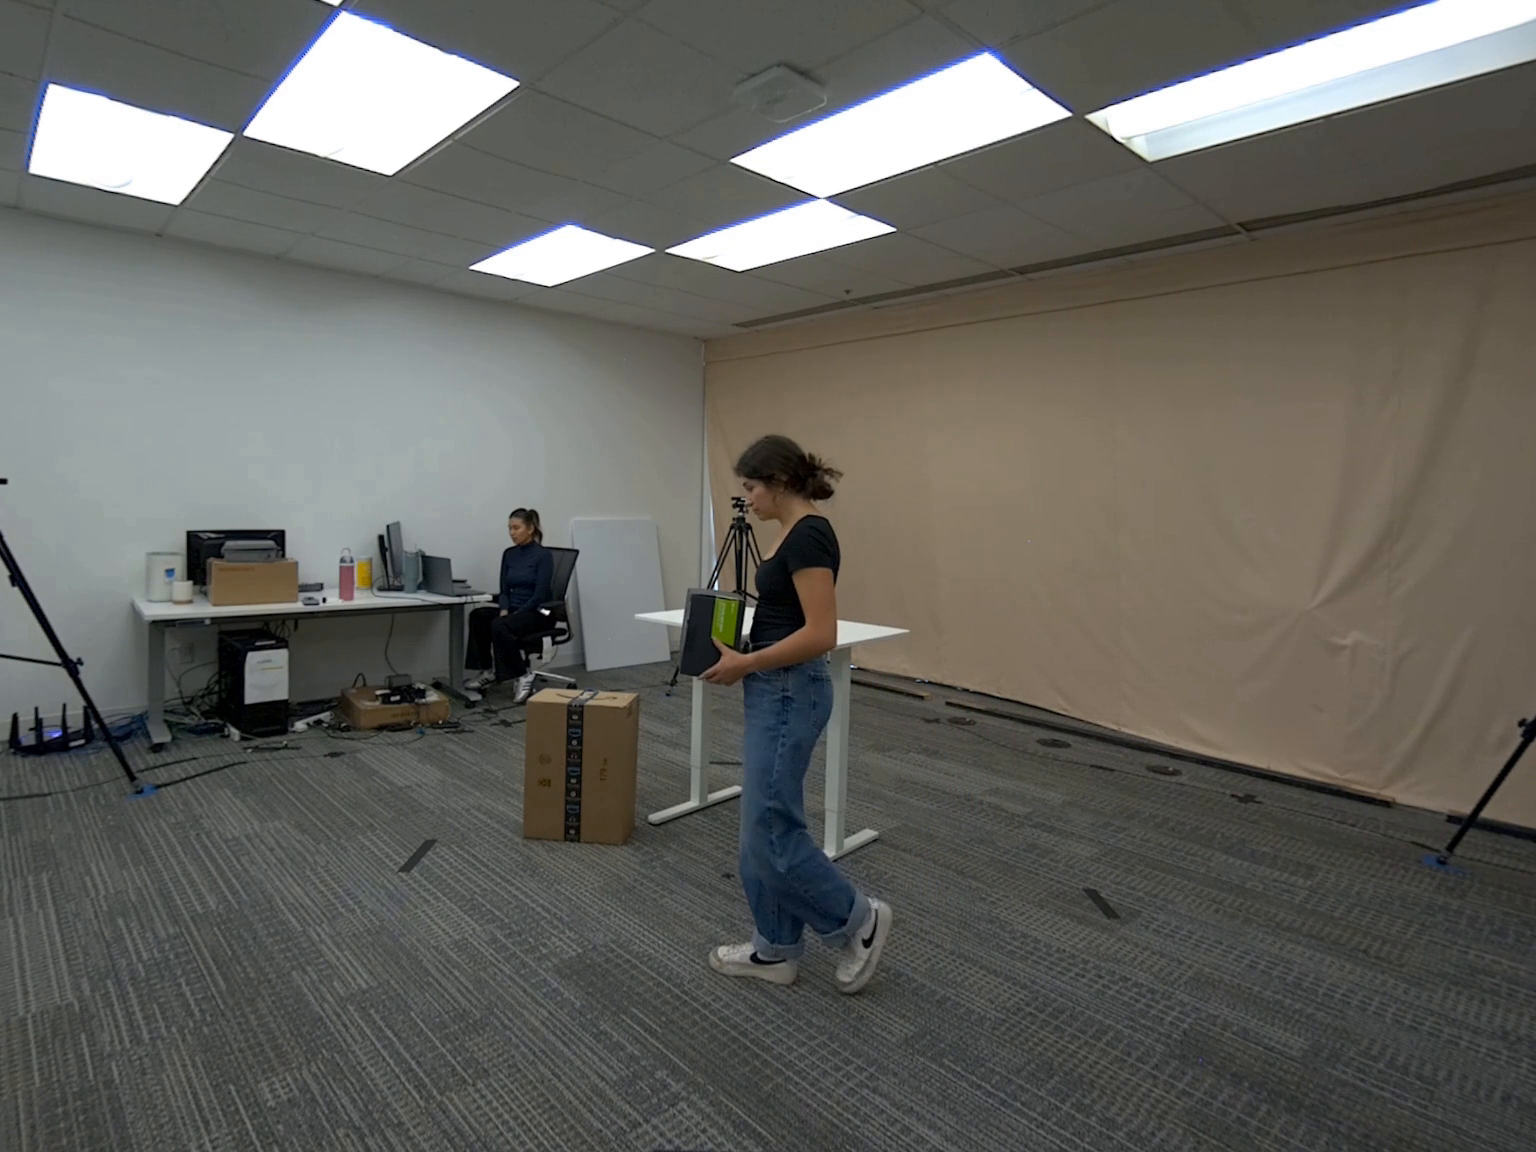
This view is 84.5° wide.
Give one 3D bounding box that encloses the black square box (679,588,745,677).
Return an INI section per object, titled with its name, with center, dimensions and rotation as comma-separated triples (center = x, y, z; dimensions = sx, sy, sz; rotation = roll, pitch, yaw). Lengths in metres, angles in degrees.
[black square box]
center = -0.158, 0.164, 2.414
dimensions = 0.156, 0.227, 0.217
rotation = 8, 3, -1
